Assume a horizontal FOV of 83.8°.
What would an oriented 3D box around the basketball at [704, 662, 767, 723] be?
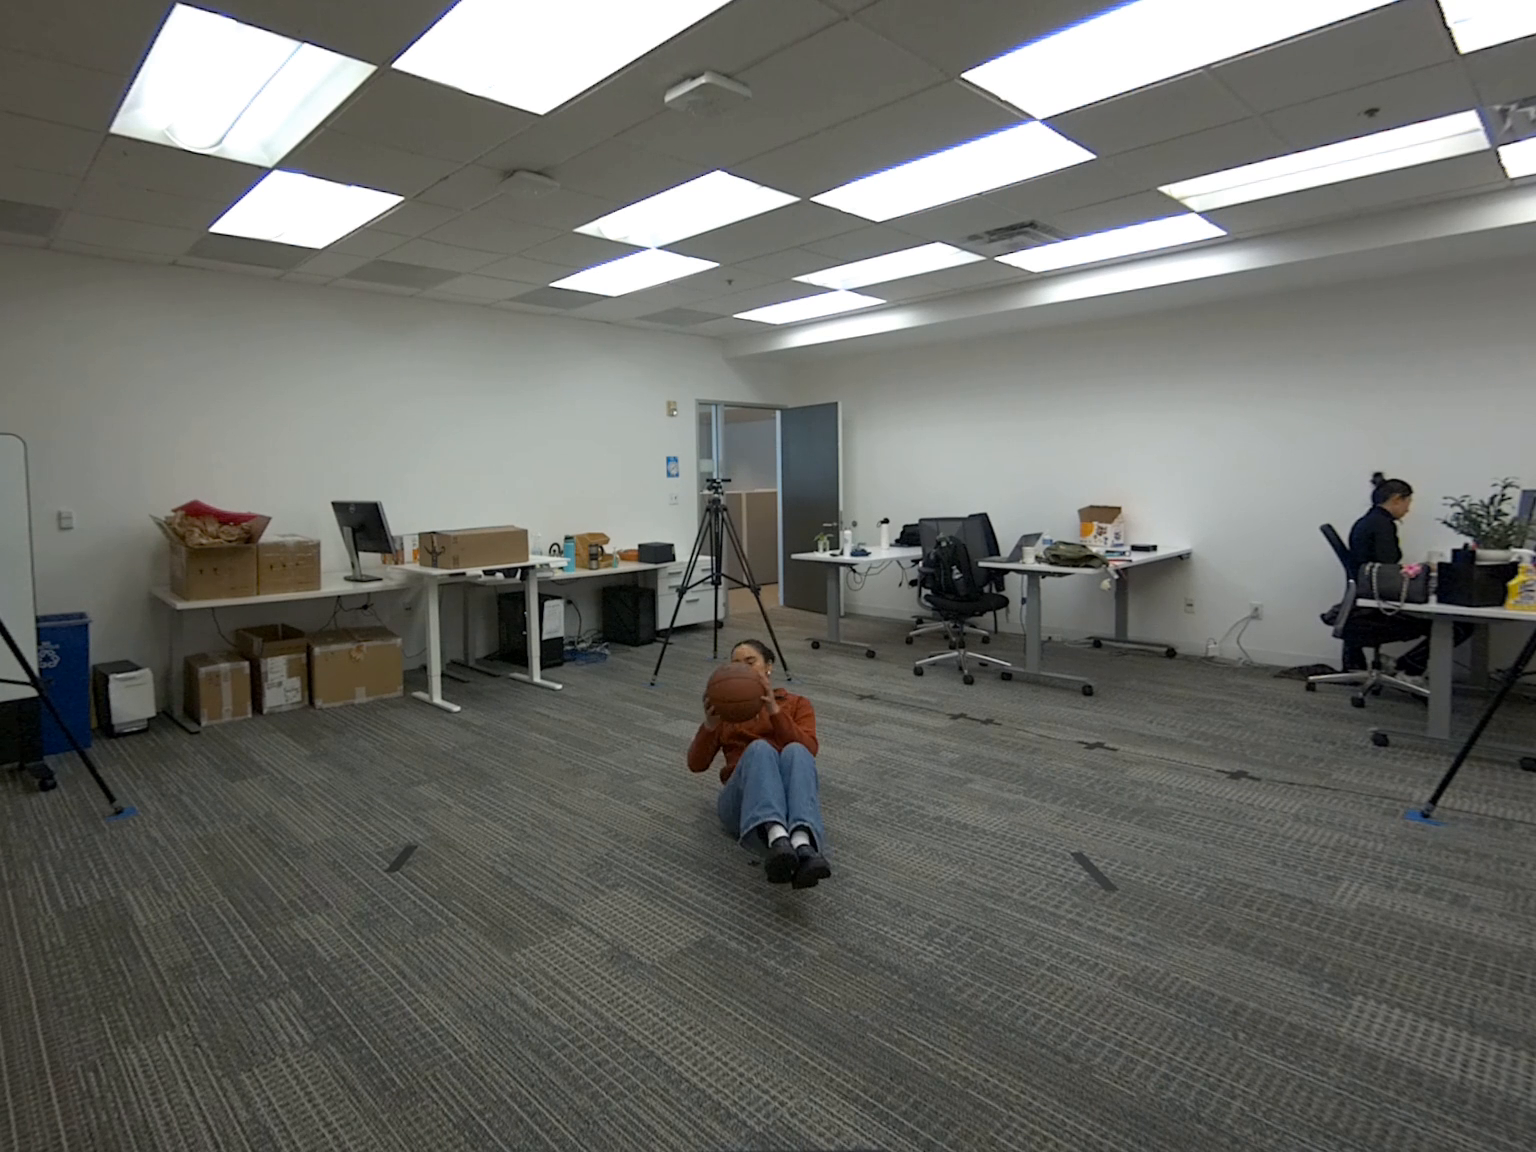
[{"bbox_3d":[-0.126,0.483,3.349,0.236,0.235,0.237,-1,5,-2],"label":"basketball"}]
